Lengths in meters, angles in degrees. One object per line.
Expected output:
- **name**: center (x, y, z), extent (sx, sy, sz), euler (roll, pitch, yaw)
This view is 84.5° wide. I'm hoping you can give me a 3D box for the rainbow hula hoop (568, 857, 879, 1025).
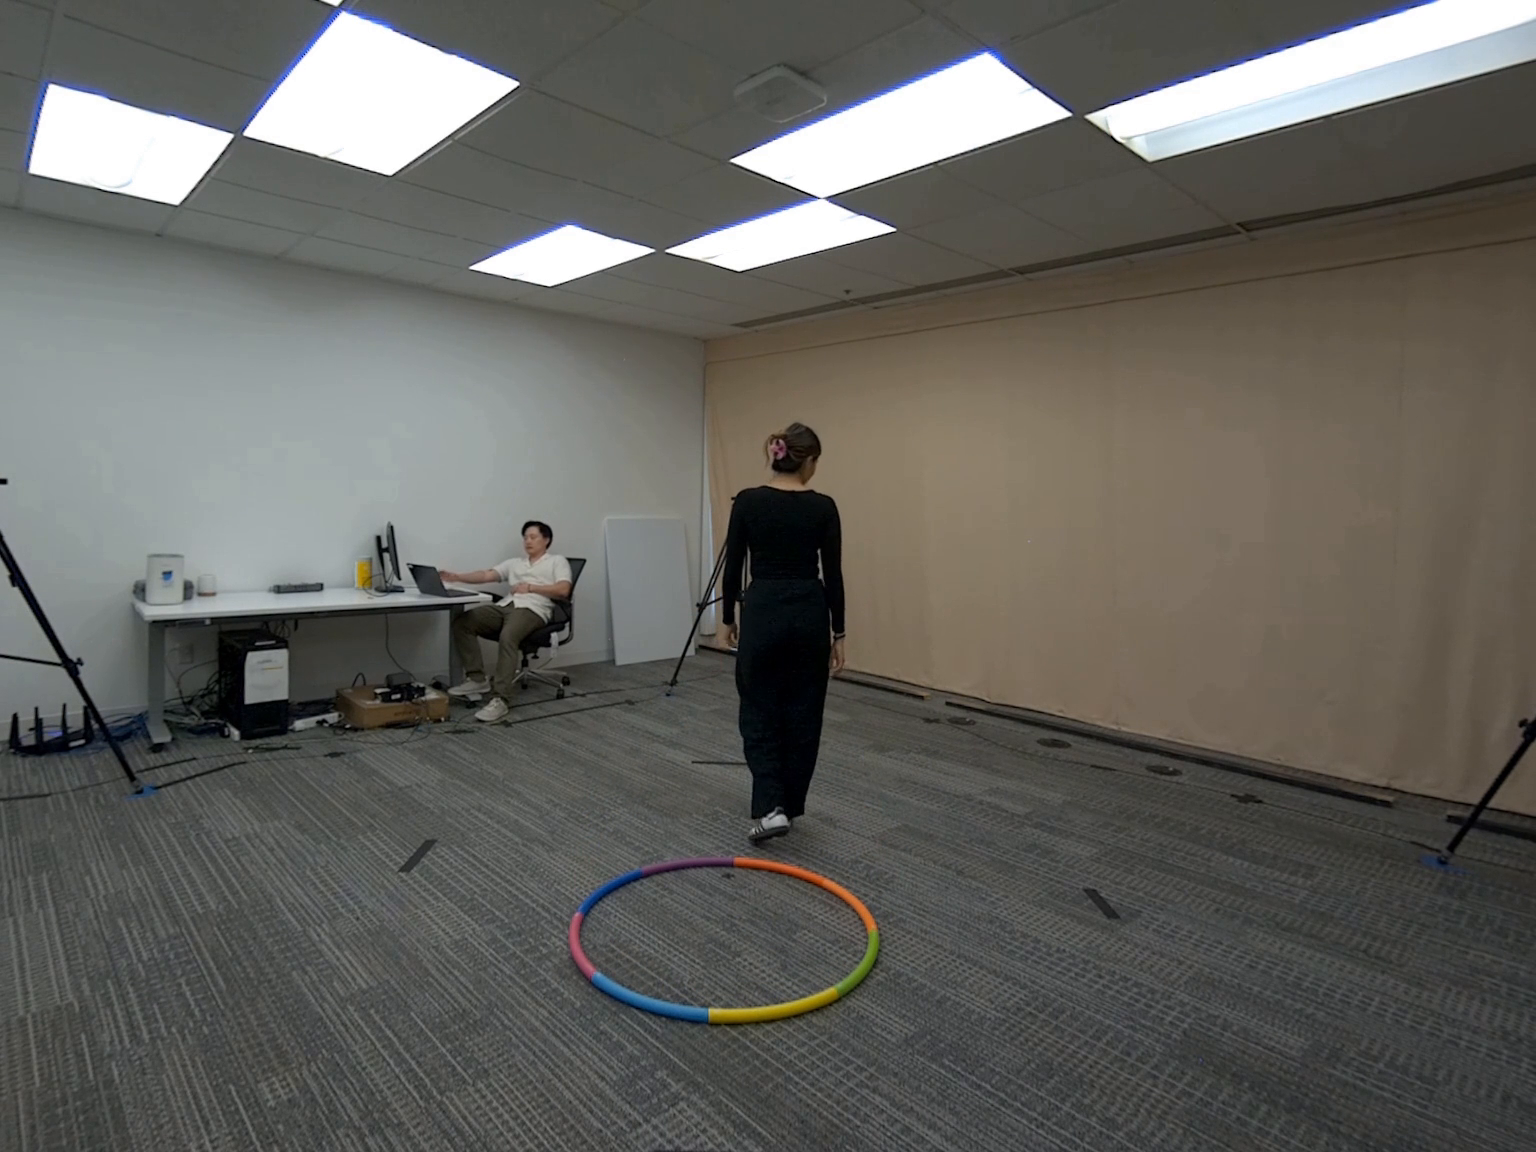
- **rainbow hula hoop**: center (-0.143, 1.109, 2.714), extent (0.978, 0.035, 0.982), euler (1, 5, -1)
